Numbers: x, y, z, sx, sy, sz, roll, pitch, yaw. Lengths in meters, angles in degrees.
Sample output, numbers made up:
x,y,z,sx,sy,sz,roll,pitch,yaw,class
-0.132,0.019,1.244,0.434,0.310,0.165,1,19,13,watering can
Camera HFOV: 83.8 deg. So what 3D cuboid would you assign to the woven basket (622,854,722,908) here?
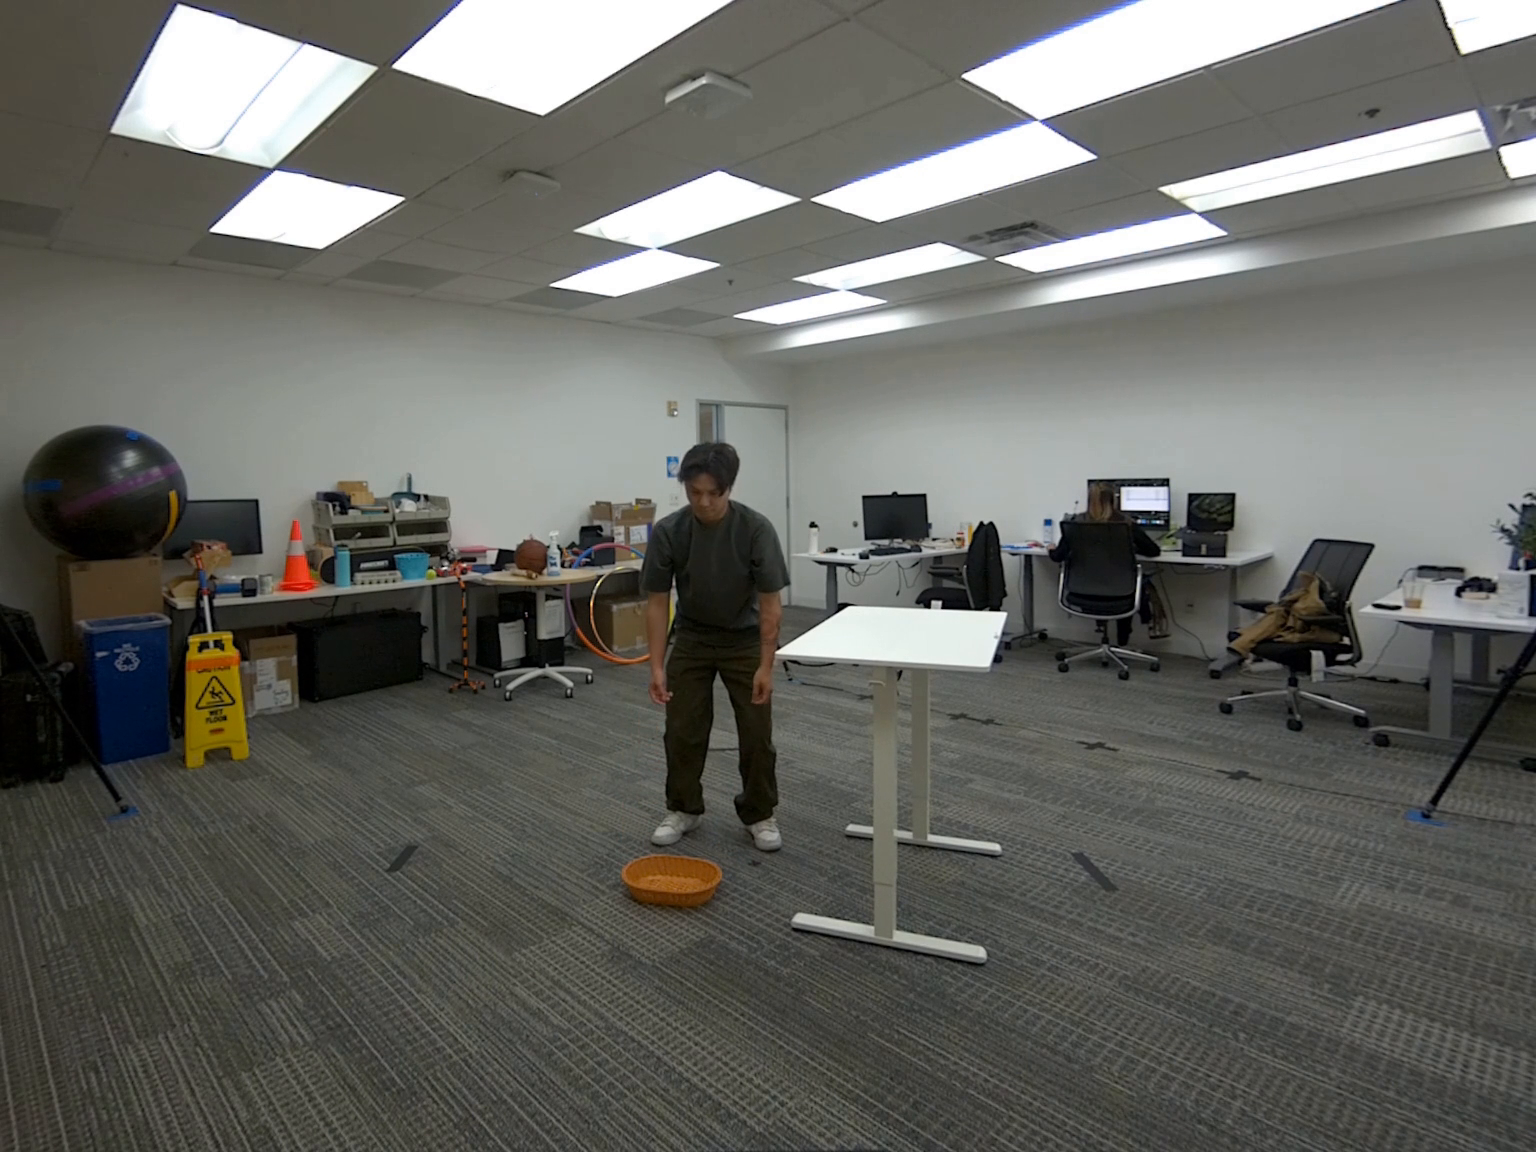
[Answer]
x,y,z,sx,sy,sz,roll,pitch,yaw,class
-0.326,1.039,2.894,0.356,0.073,0.249,1,7,17,woven basket
